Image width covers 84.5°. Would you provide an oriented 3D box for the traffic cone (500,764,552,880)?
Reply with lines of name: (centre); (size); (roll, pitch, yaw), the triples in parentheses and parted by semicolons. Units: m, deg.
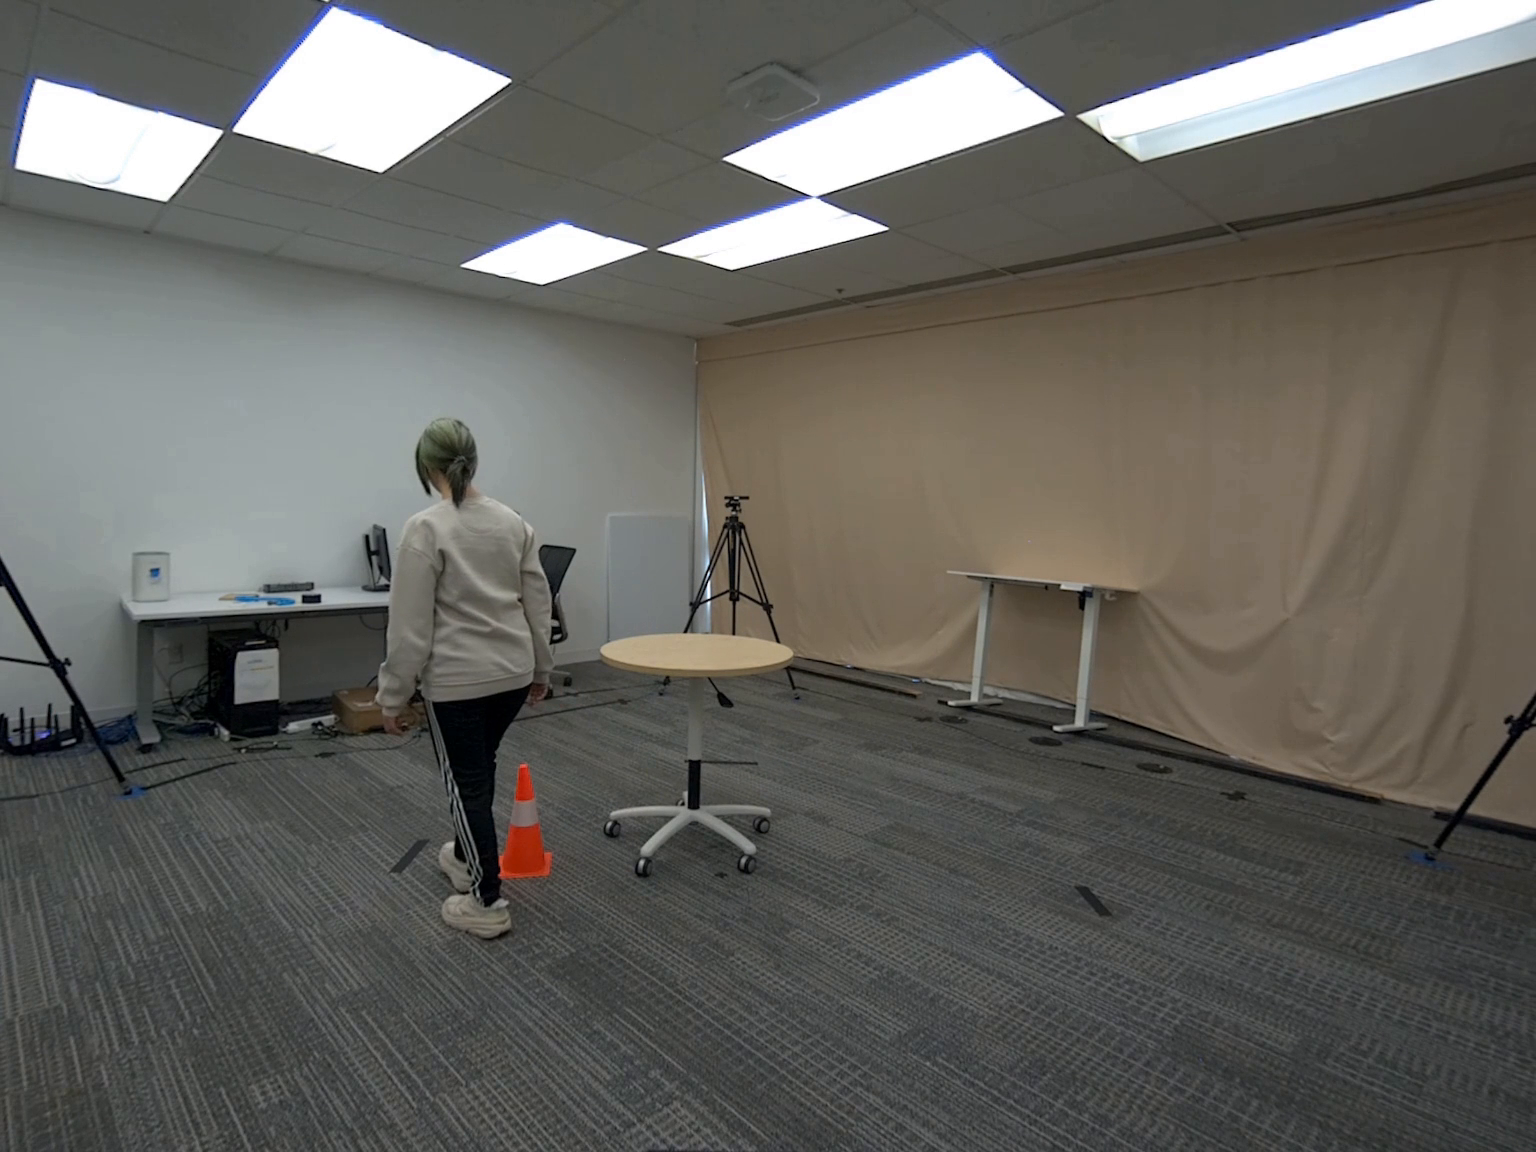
traffic cone: (-0.926, 0.902, 3.134); (0.203, 0.383, 0.205); (-1, 4, -11)
